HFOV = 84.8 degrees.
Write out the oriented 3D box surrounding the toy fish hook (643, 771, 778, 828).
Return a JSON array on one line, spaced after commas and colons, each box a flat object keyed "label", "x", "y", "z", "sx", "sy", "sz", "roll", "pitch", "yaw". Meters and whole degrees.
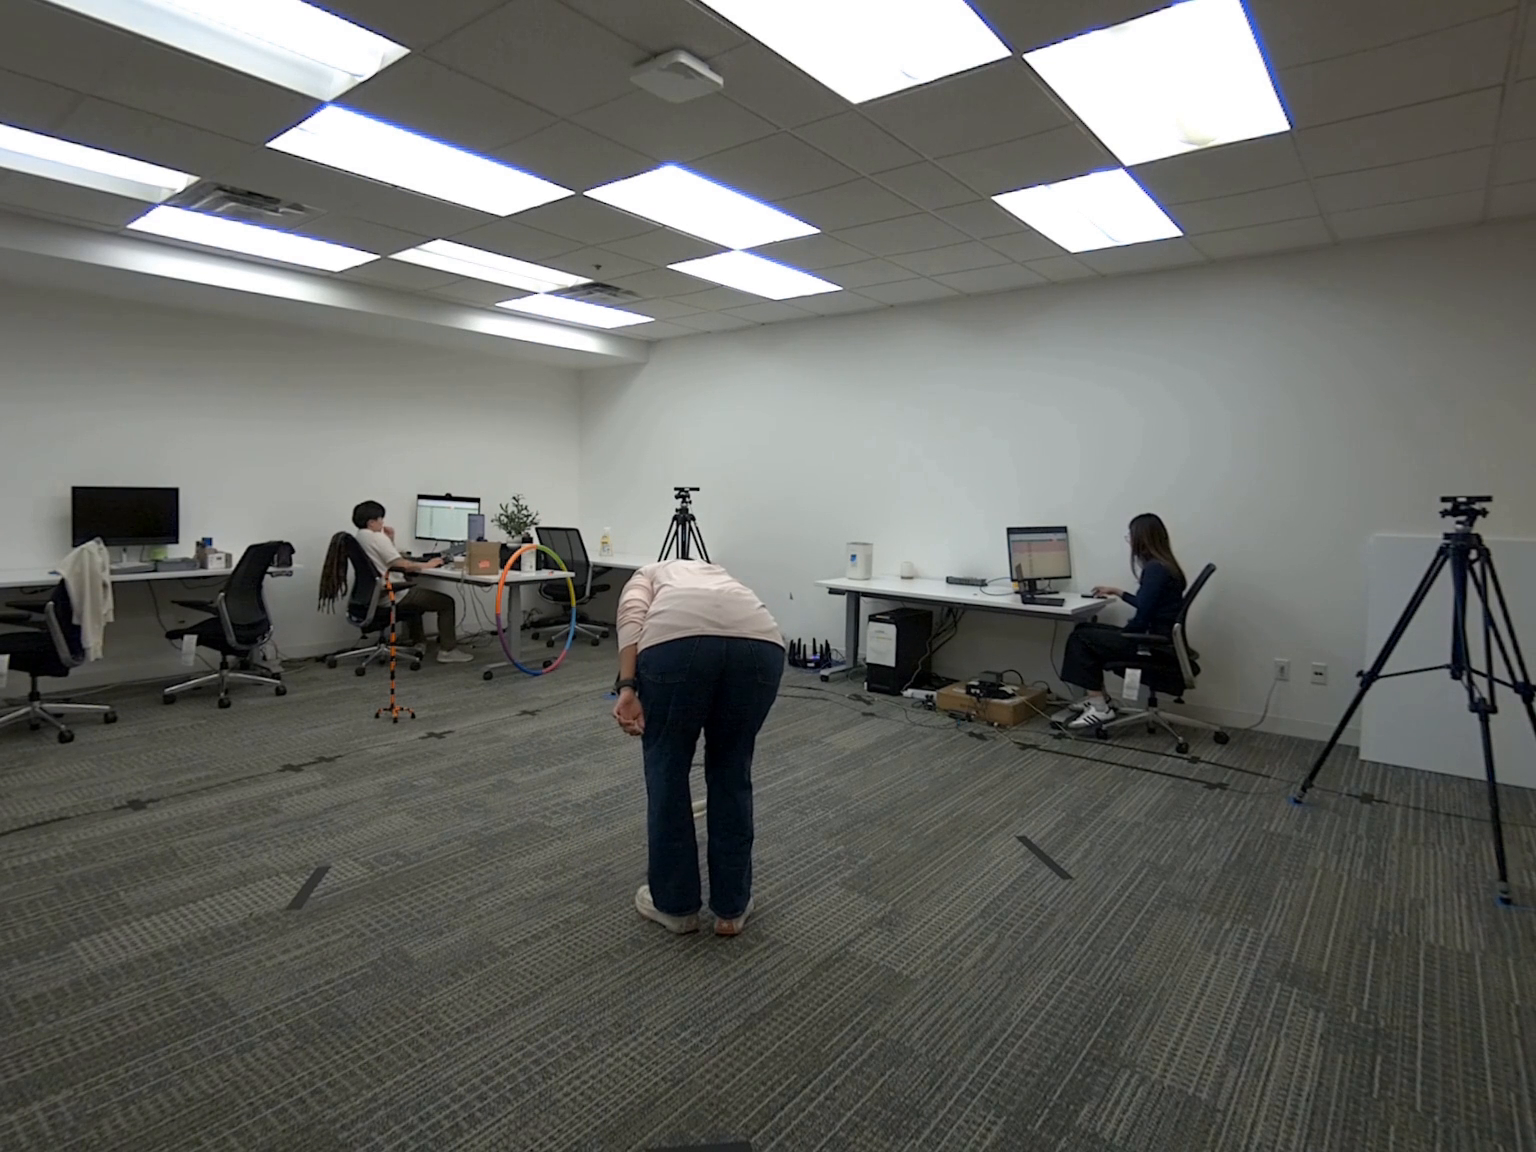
[{"label": "toy fish hook", "x": -0.227, "y": 0.848, "z": 3.191, "sx": 0.512, "sy": 0.049, "sz": 0.217, "roll": -31, "pitch": -24, "yaw": 35}]
